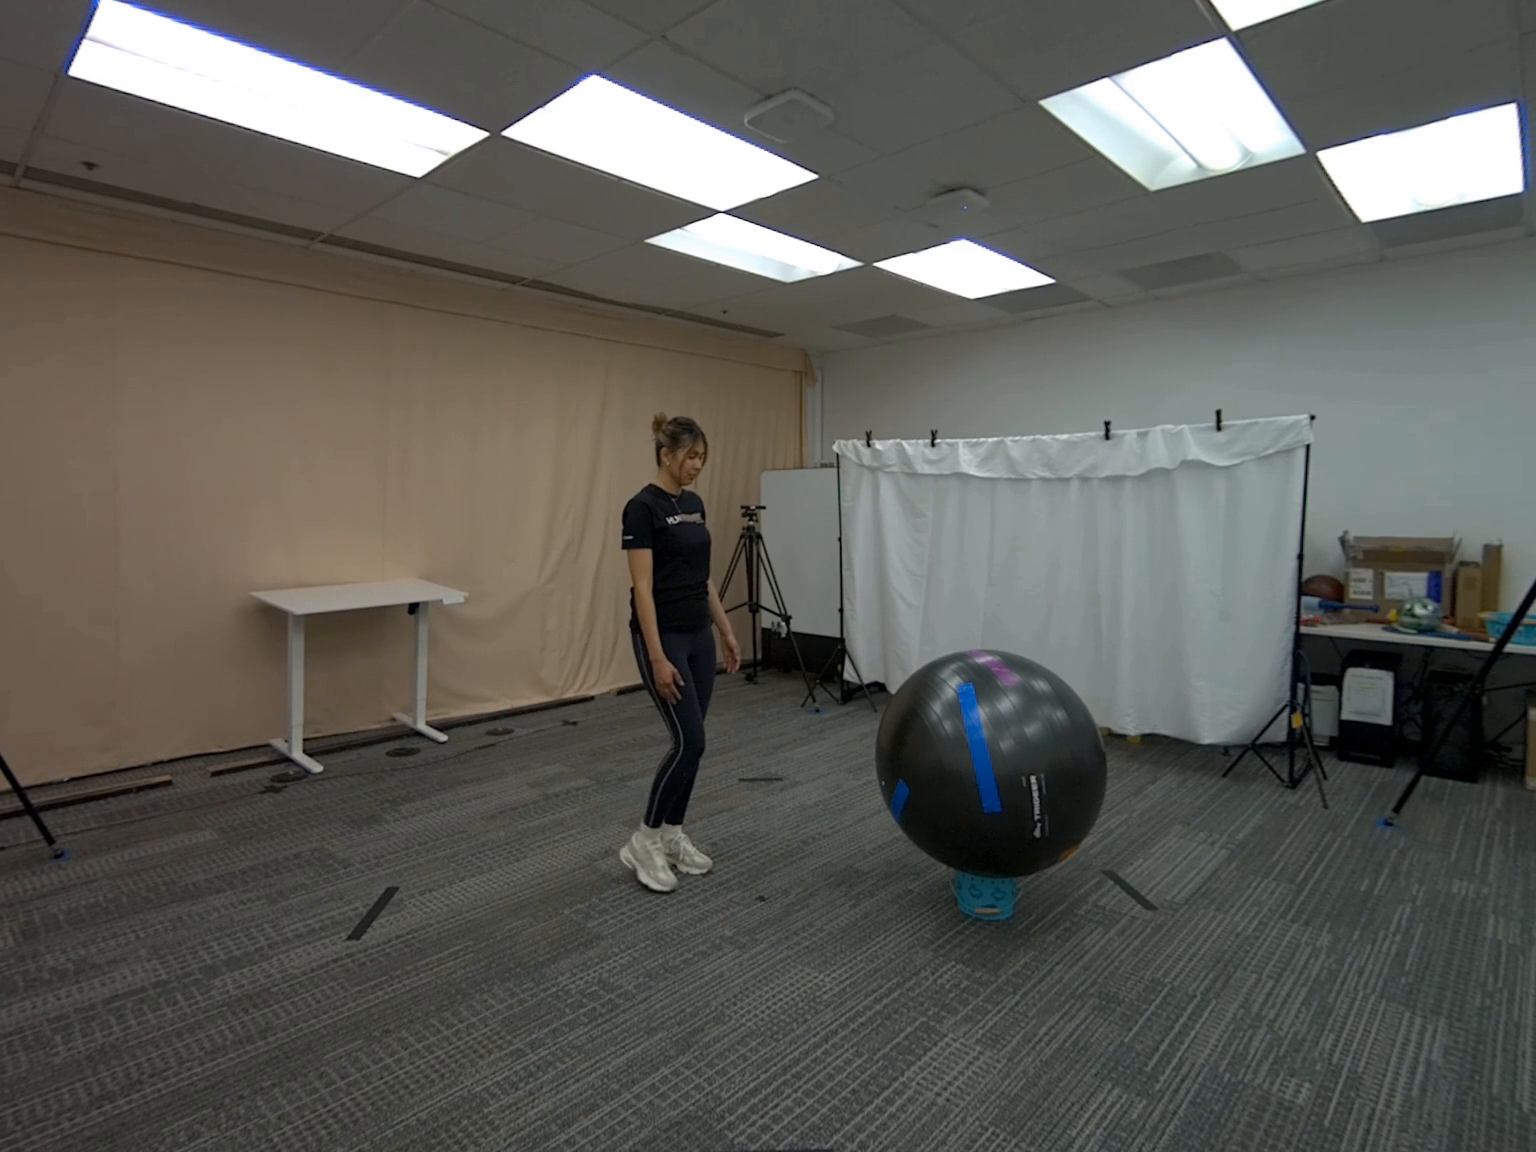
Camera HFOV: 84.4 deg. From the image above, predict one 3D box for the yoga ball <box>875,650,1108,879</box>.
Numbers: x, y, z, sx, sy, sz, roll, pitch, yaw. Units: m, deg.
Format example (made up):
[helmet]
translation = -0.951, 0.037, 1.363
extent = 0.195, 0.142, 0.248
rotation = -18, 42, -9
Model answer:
[yoga ball]
translation = 0.771, 0.644, 2.900
extent = 0.757, 0.756, 0.761
rotation = 0, 4, -2
